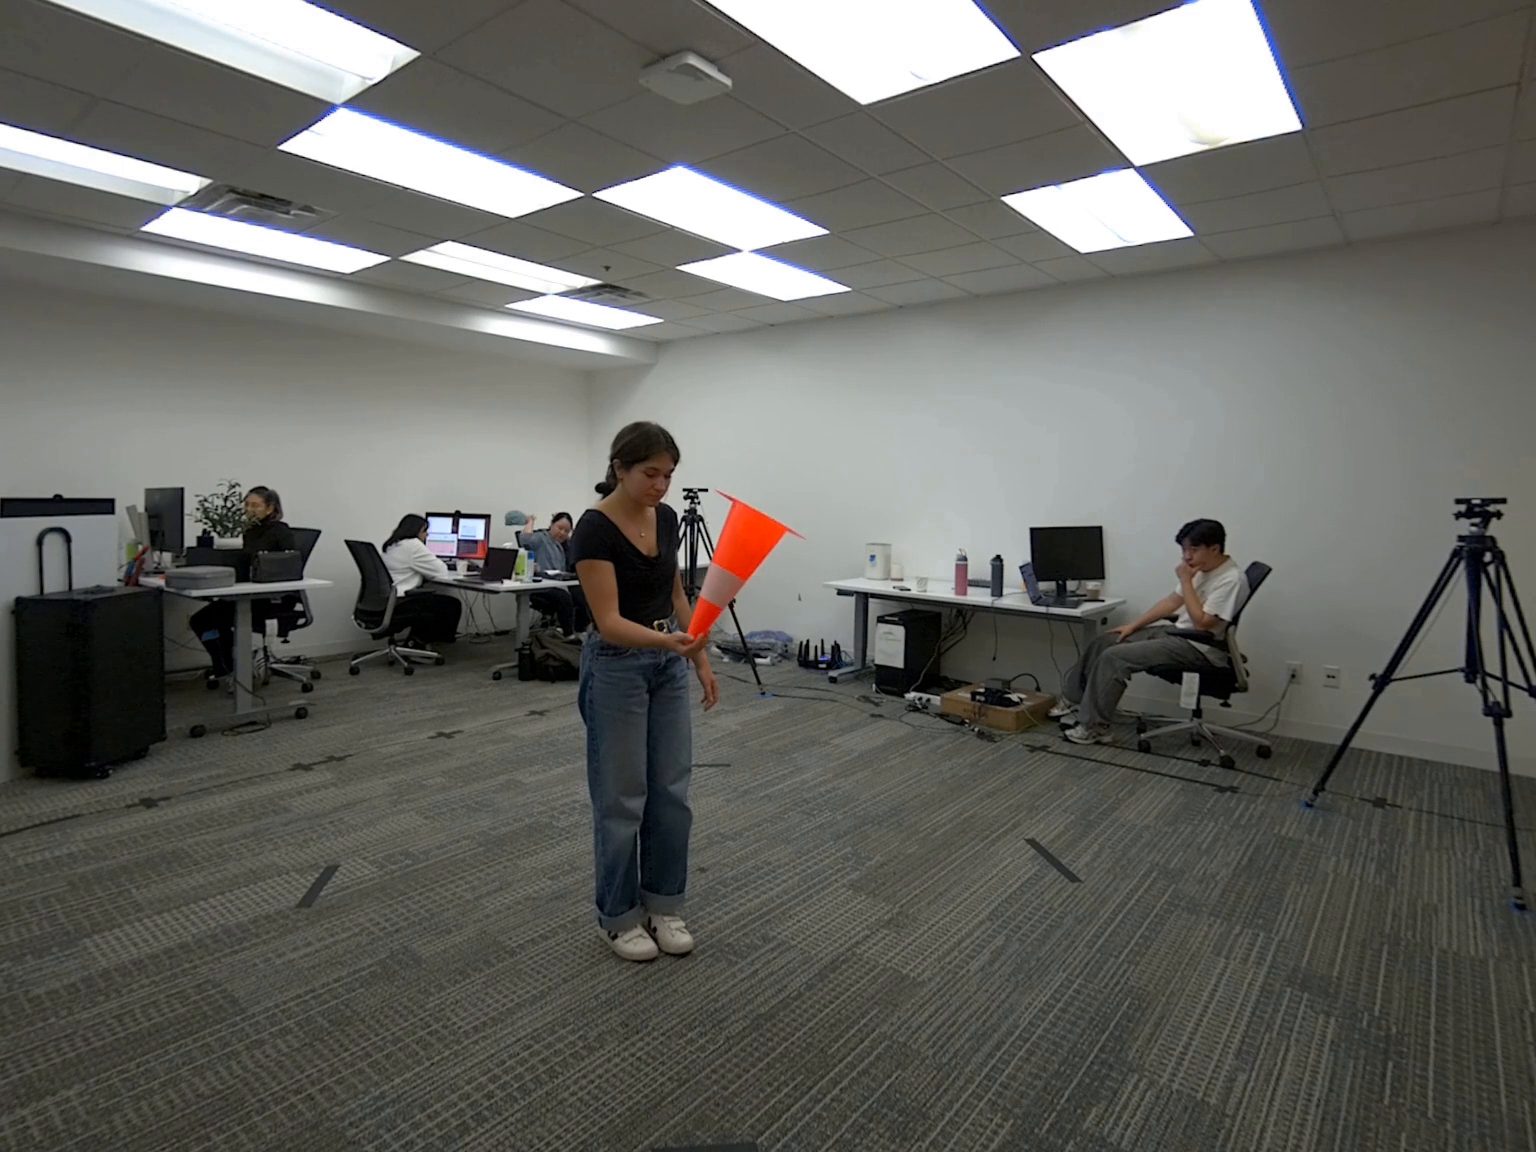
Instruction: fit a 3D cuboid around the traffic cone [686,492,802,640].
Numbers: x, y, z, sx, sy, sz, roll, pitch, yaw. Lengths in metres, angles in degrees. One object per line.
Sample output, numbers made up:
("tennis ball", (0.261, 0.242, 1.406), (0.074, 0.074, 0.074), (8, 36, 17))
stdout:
("traffic cone", (-0.106, 0.024, 2.167), (0.196, 0.383, 0.212), (28, 4, -43))
